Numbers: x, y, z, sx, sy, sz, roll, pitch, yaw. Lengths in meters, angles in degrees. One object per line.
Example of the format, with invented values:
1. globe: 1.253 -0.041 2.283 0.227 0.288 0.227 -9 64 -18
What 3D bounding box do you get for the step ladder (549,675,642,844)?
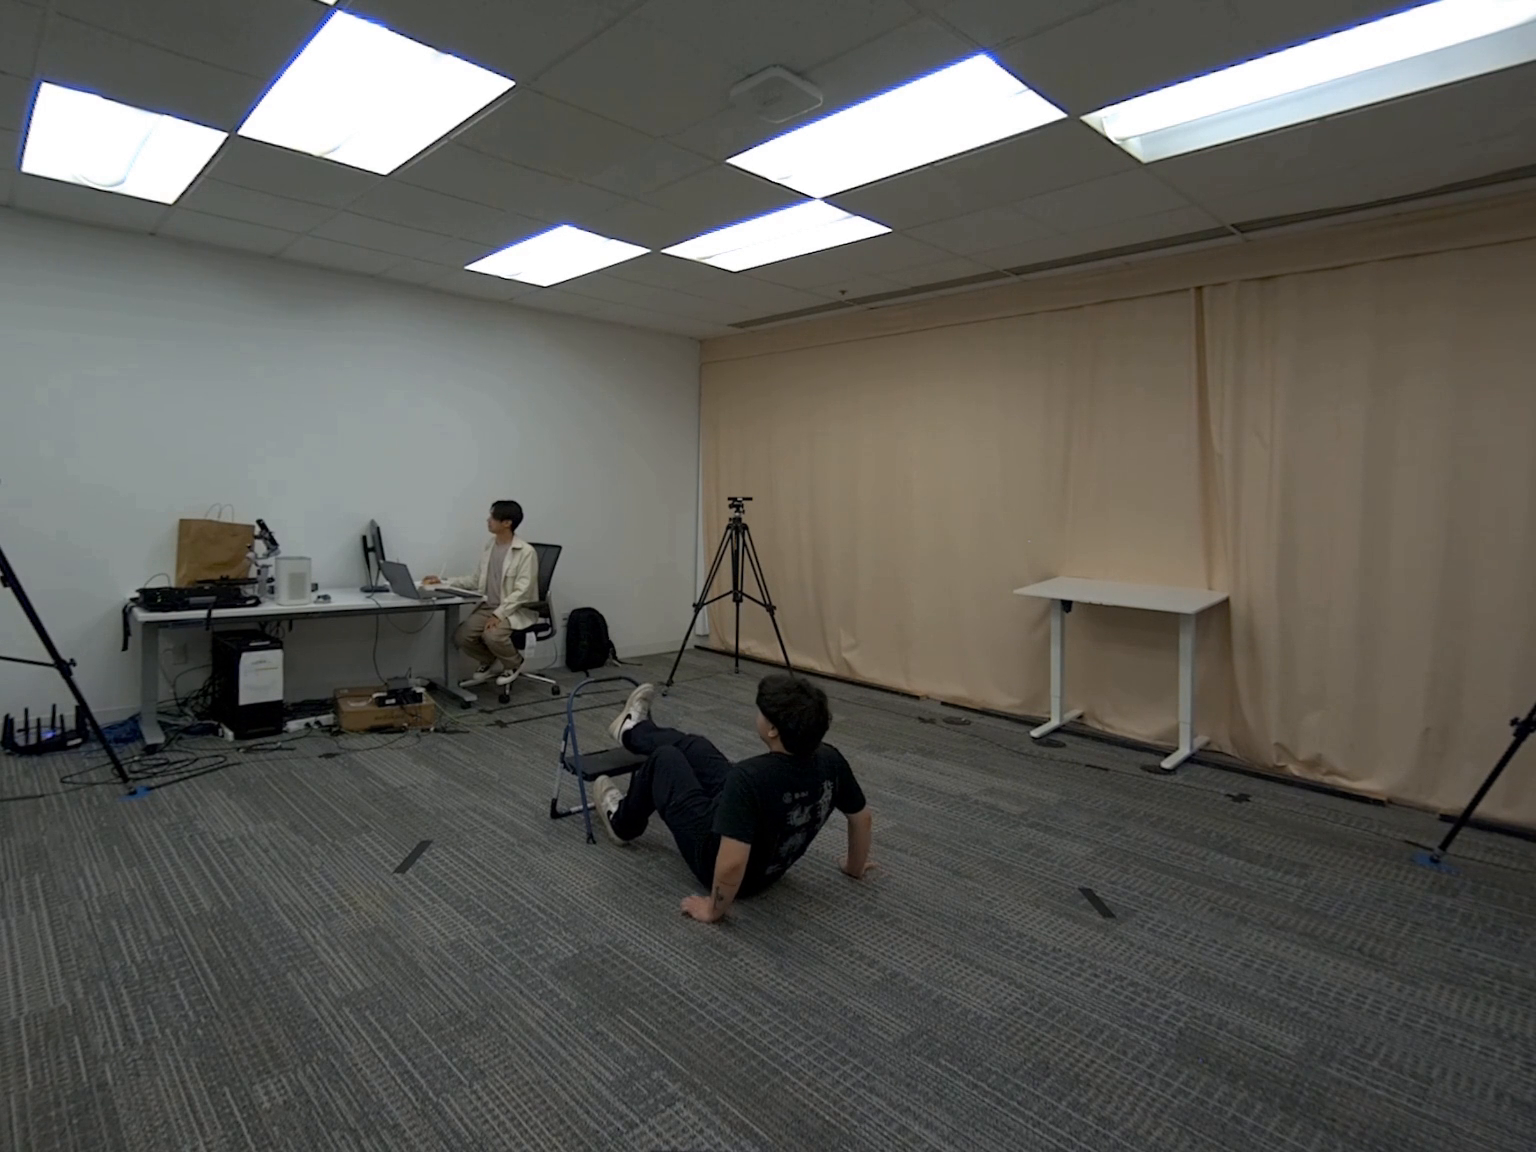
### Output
1. step ladder: -0.675 0.748 3.615 0.421 0.605 0.358 -2 5 -43
